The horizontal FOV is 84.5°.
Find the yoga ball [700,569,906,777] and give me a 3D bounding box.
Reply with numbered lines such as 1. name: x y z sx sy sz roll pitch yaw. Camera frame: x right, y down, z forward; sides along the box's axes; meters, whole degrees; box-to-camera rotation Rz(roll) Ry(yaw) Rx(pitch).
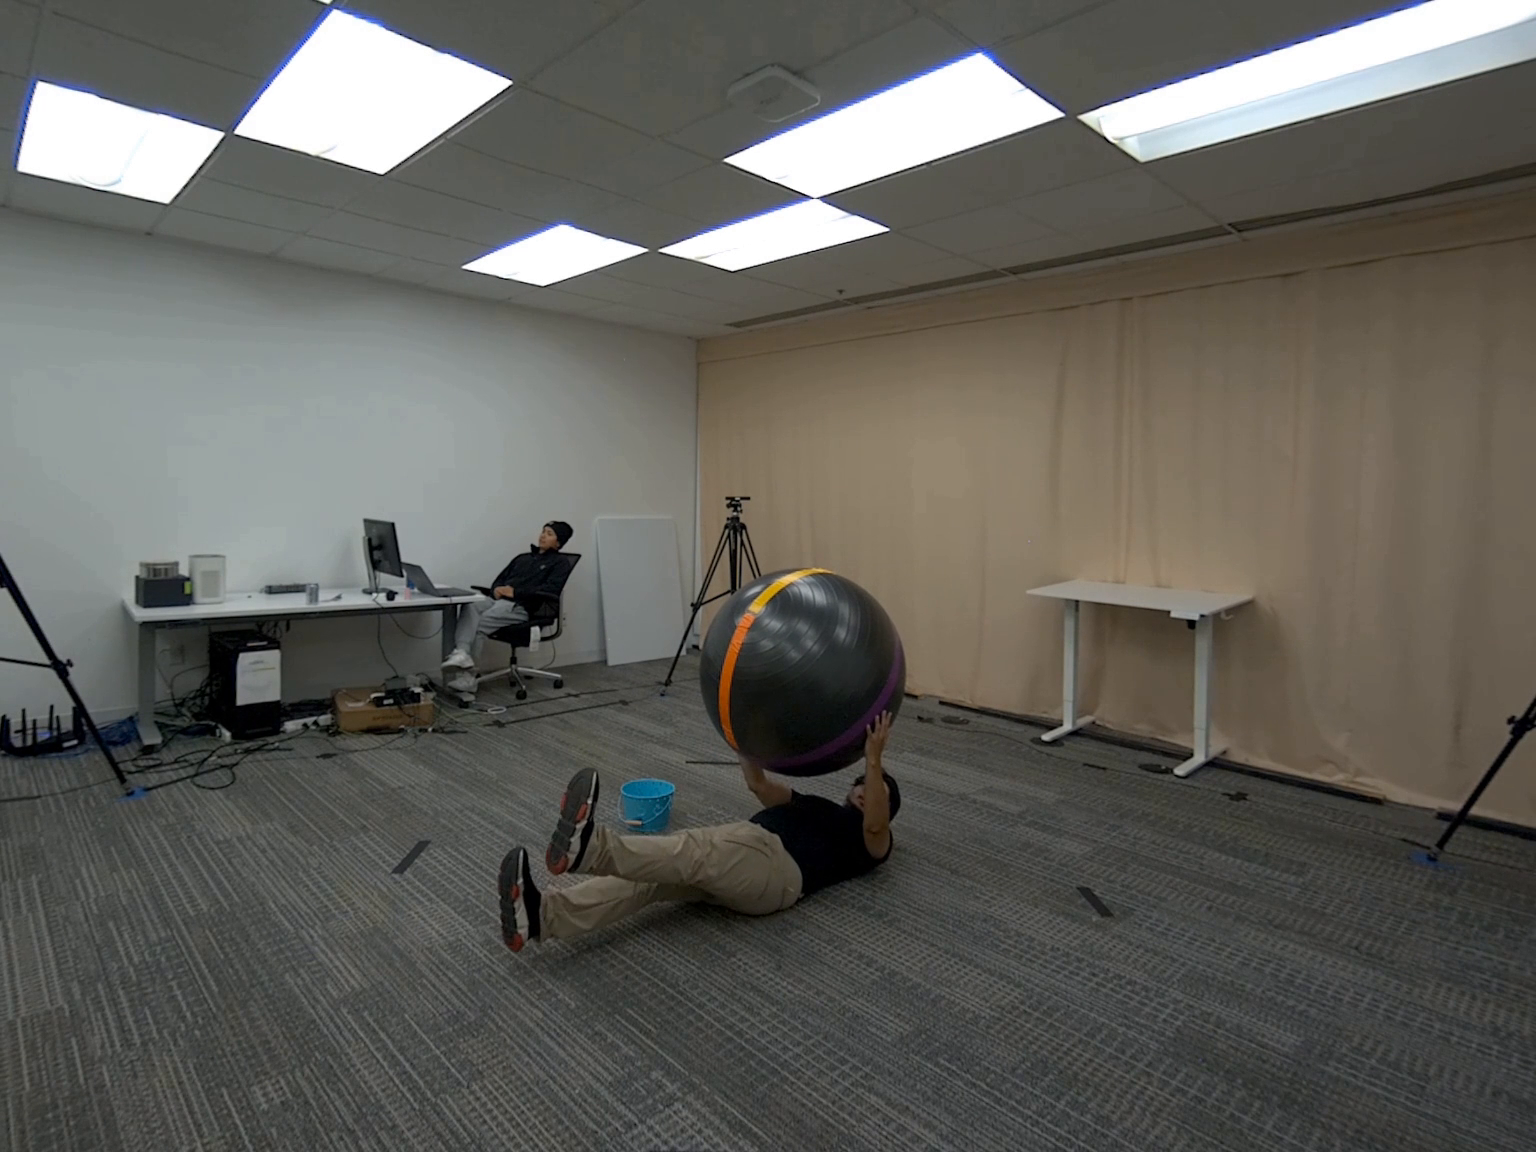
1. yoga ball: 0.124 0.357 3.103 0.757 0.755 0.761 1 5 -1
